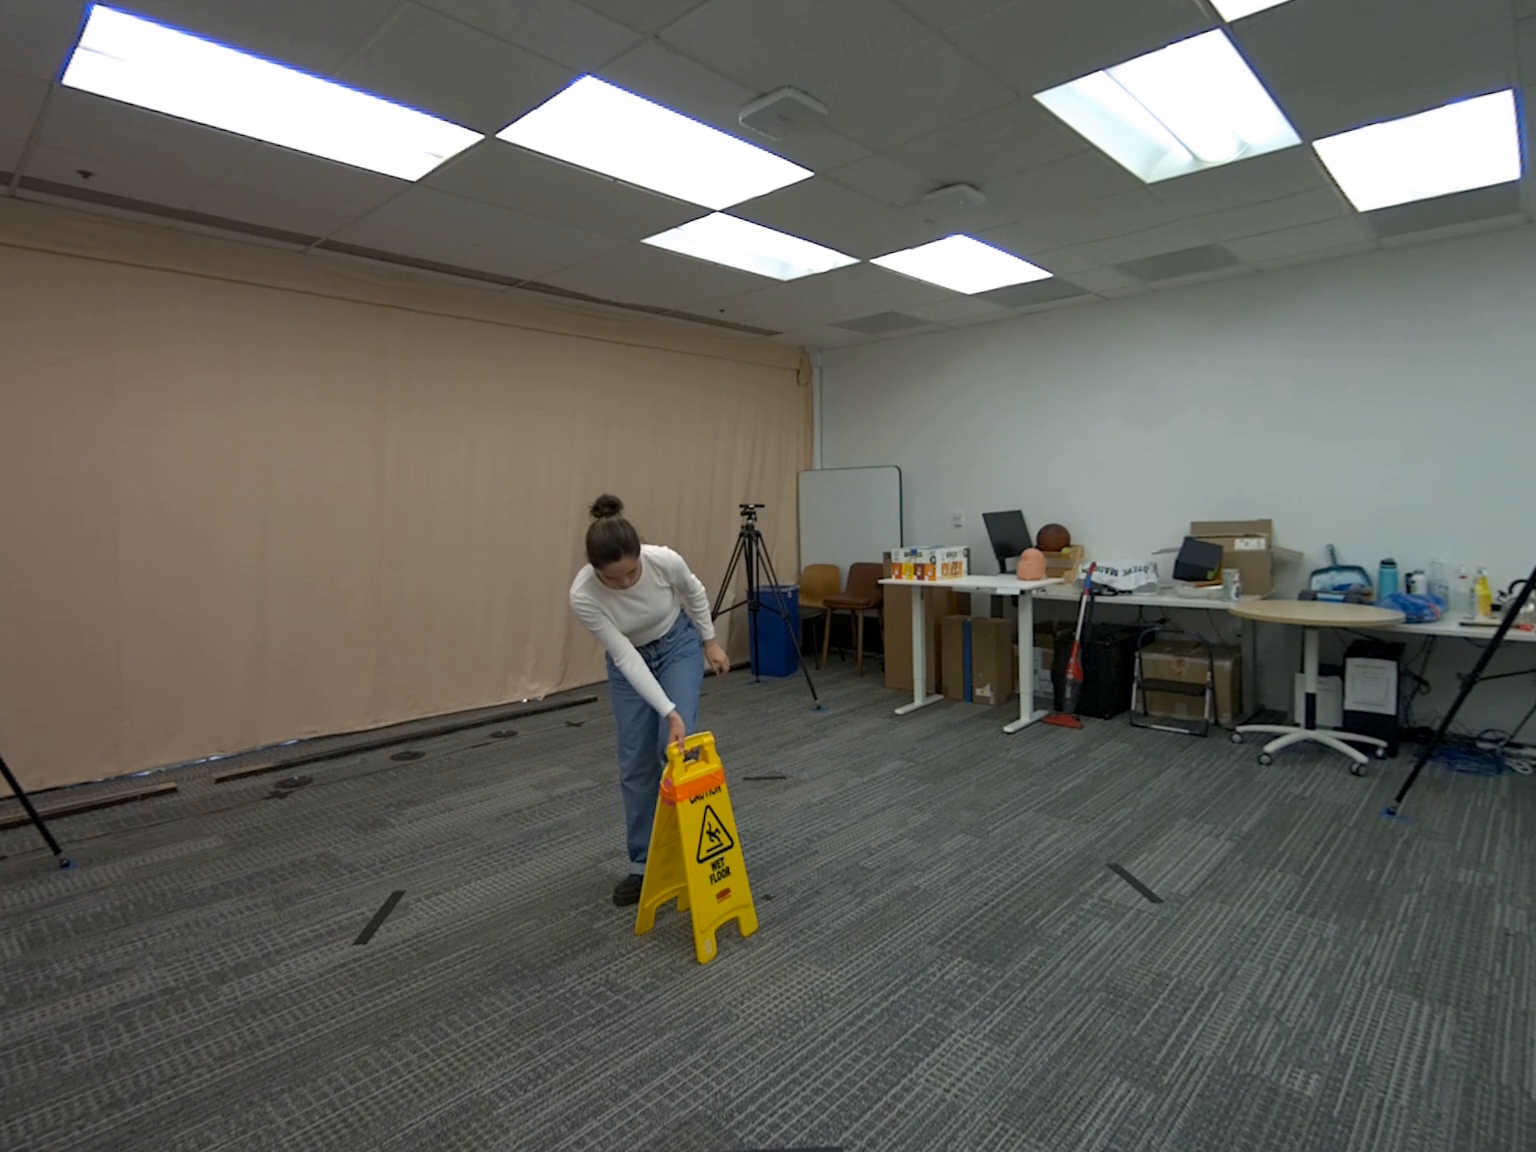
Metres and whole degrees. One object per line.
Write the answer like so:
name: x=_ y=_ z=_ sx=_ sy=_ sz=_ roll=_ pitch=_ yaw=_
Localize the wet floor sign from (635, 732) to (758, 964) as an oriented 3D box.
wet floor sign: x=-0.240 y=0.842 z=2.733 sx=0.299 sy=0.645 sz=0.274 roll=1 pitch=4 yaw=39
